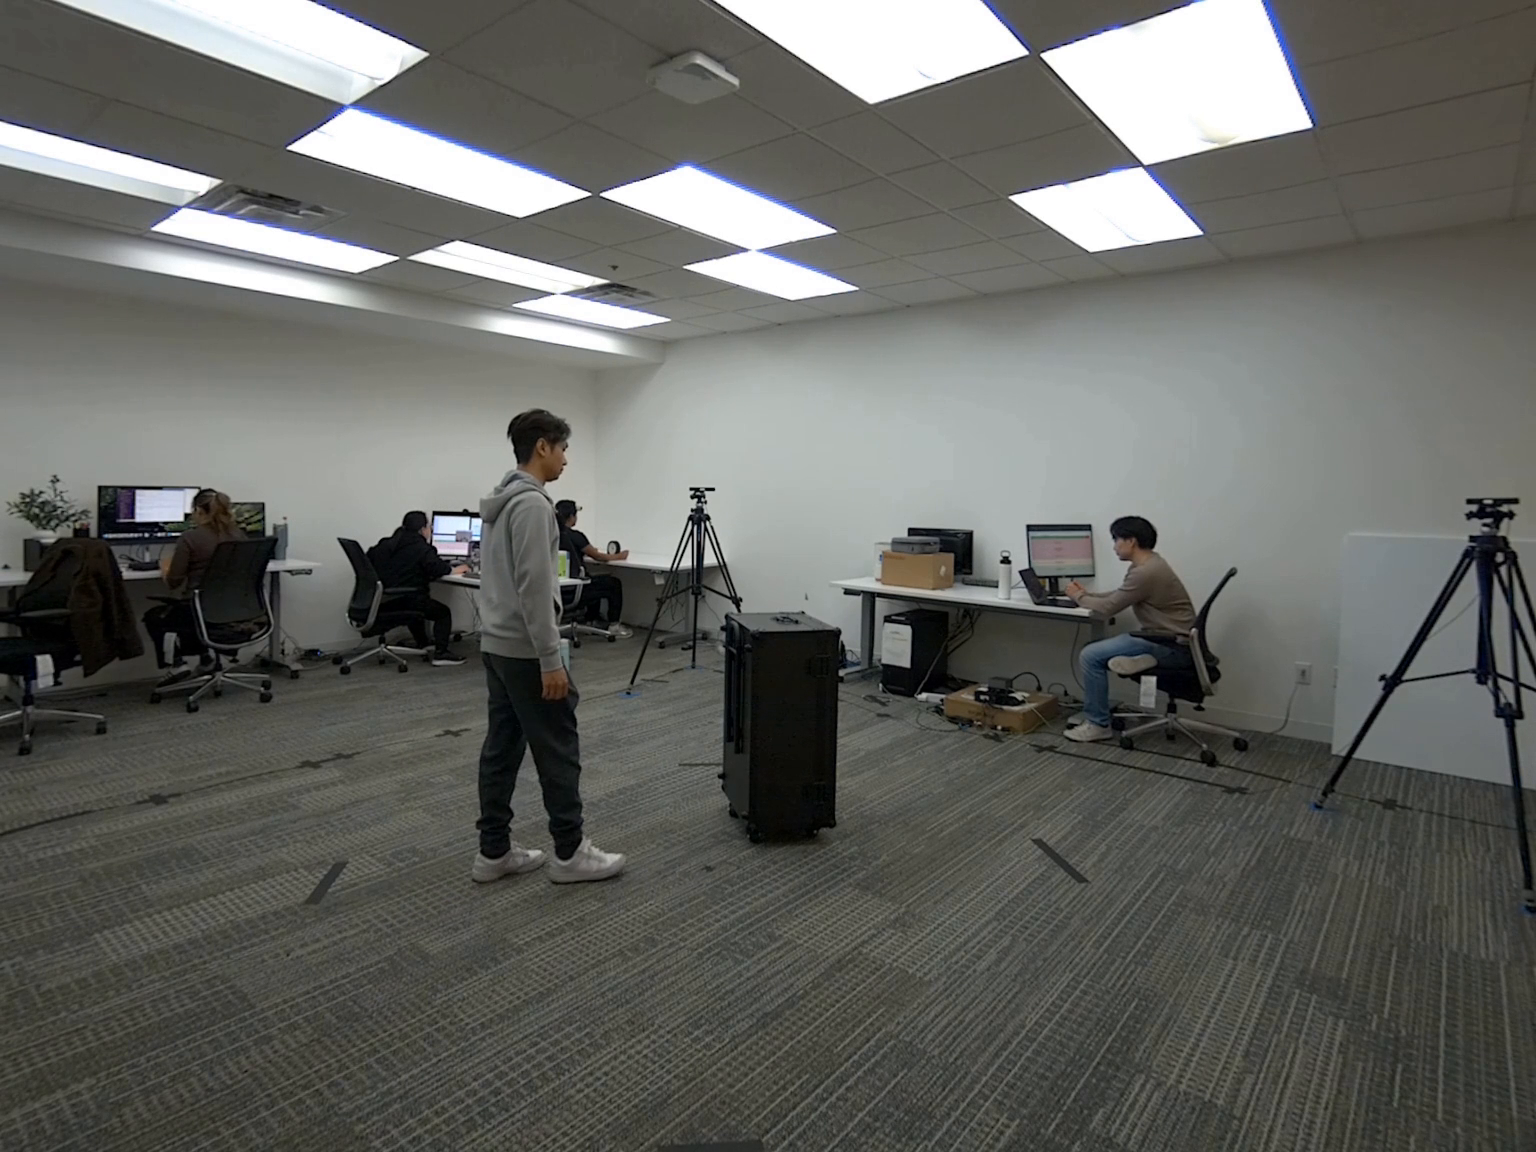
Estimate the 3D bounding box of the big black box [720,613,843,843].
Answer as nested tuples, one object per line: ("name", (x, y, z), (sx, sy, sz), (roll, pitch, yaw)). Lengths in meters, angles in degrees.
("big black box", (0.025, 0.607, 3.517), (0.390, 0.858, 0.531), (0, 4, -15))
